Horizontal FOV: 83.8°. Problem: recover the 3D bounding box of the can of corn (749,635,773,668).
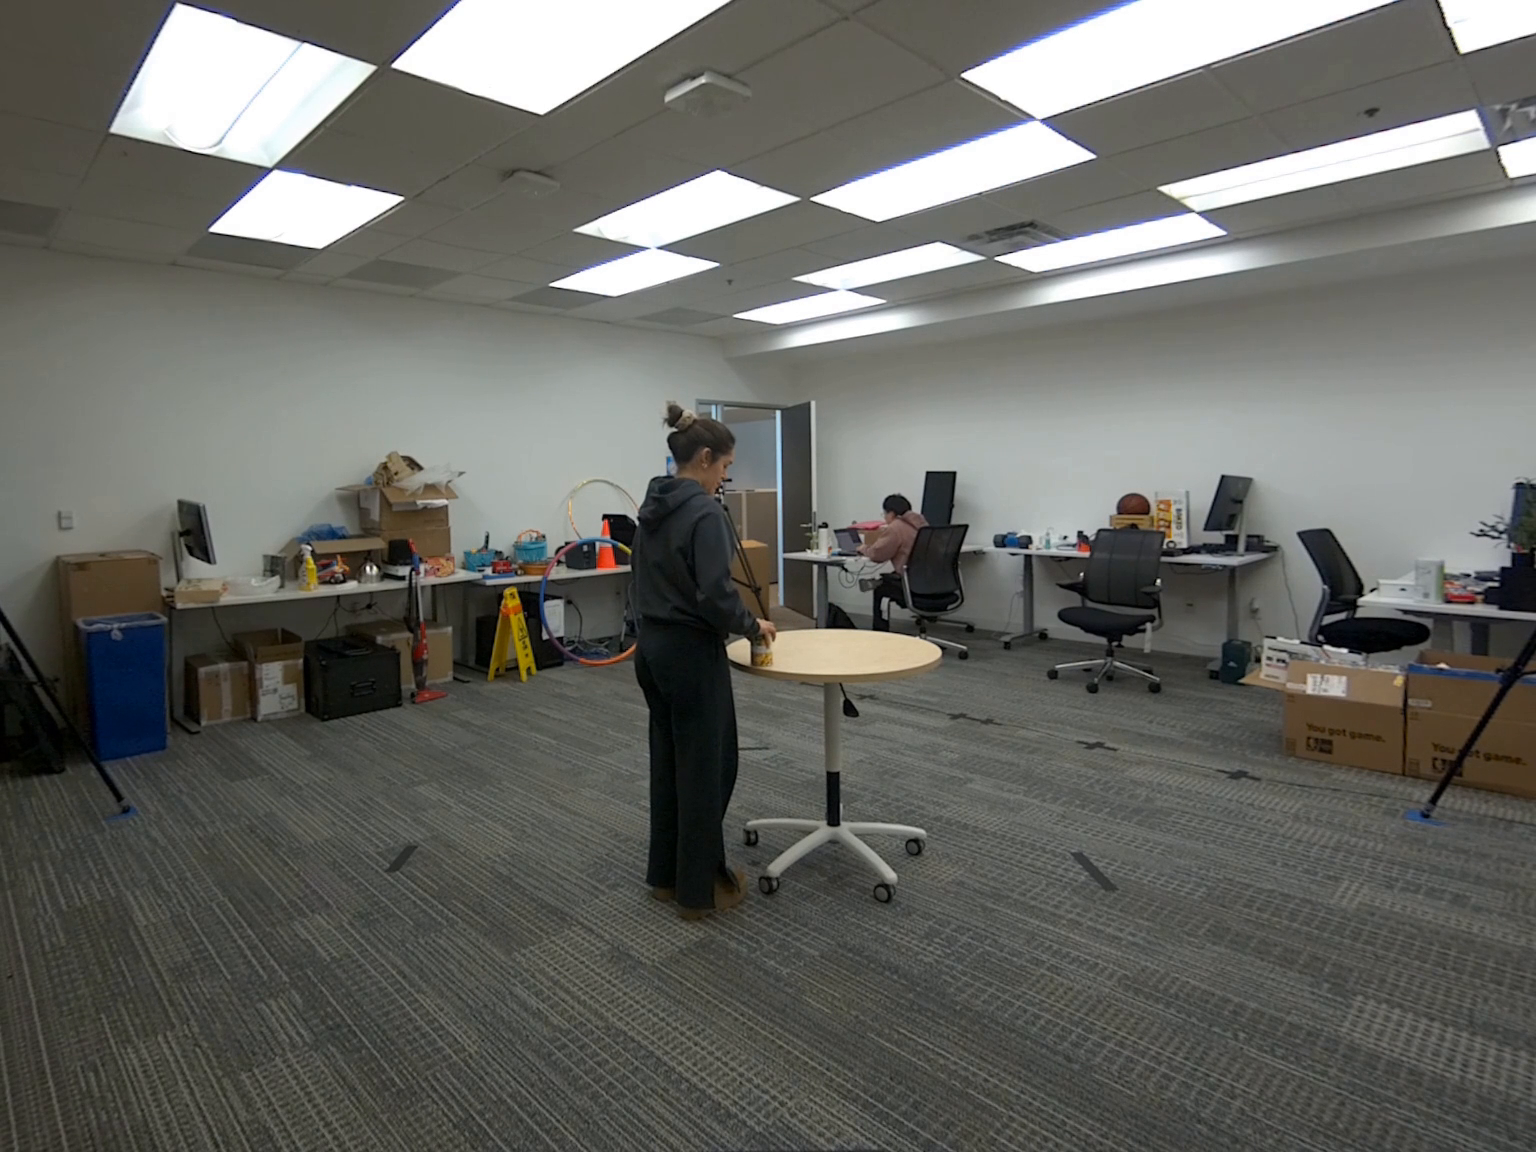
[{"bbox_3d":[-0.021,0.237,2.823,0.074,0.110,0.074,-4,6,-1],"label":"can of corn"}]
